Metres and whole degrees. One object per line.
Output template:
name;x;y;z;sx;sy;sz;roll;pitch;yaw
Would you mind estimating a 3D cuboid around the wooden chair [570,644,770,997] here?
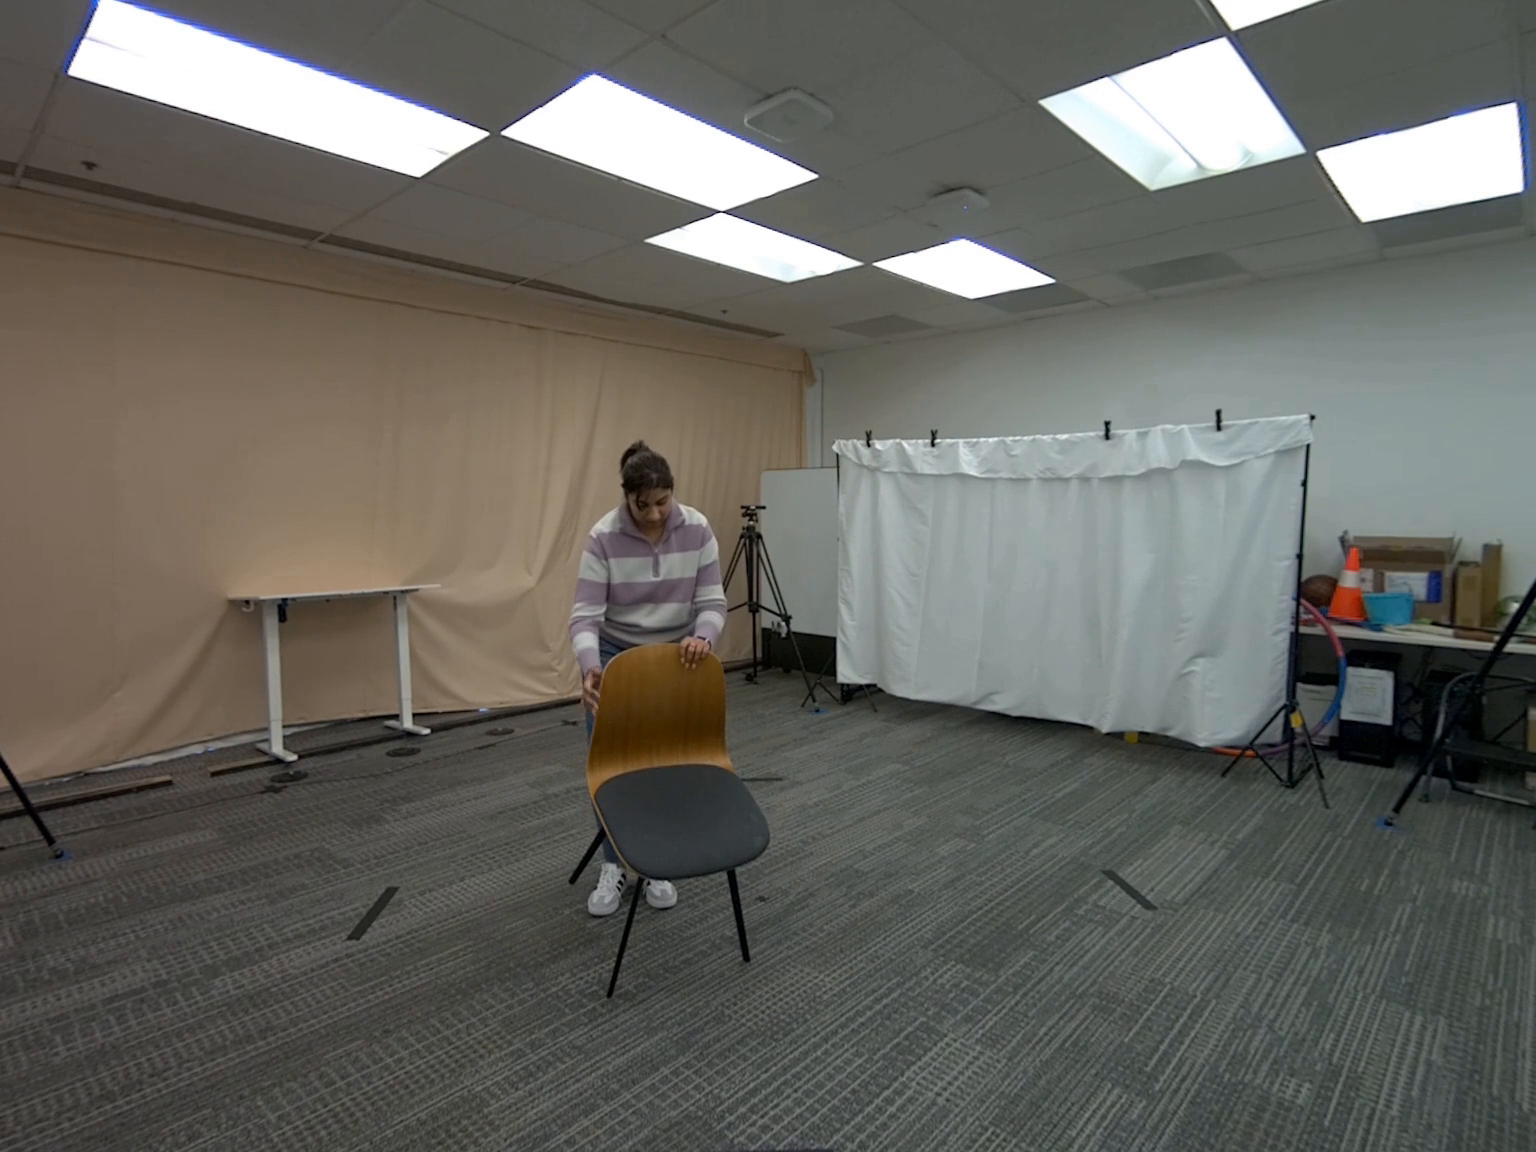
wooden chair;-0.271;0.711;2.493;0.466;0.870;0.540;-1;20;-26
